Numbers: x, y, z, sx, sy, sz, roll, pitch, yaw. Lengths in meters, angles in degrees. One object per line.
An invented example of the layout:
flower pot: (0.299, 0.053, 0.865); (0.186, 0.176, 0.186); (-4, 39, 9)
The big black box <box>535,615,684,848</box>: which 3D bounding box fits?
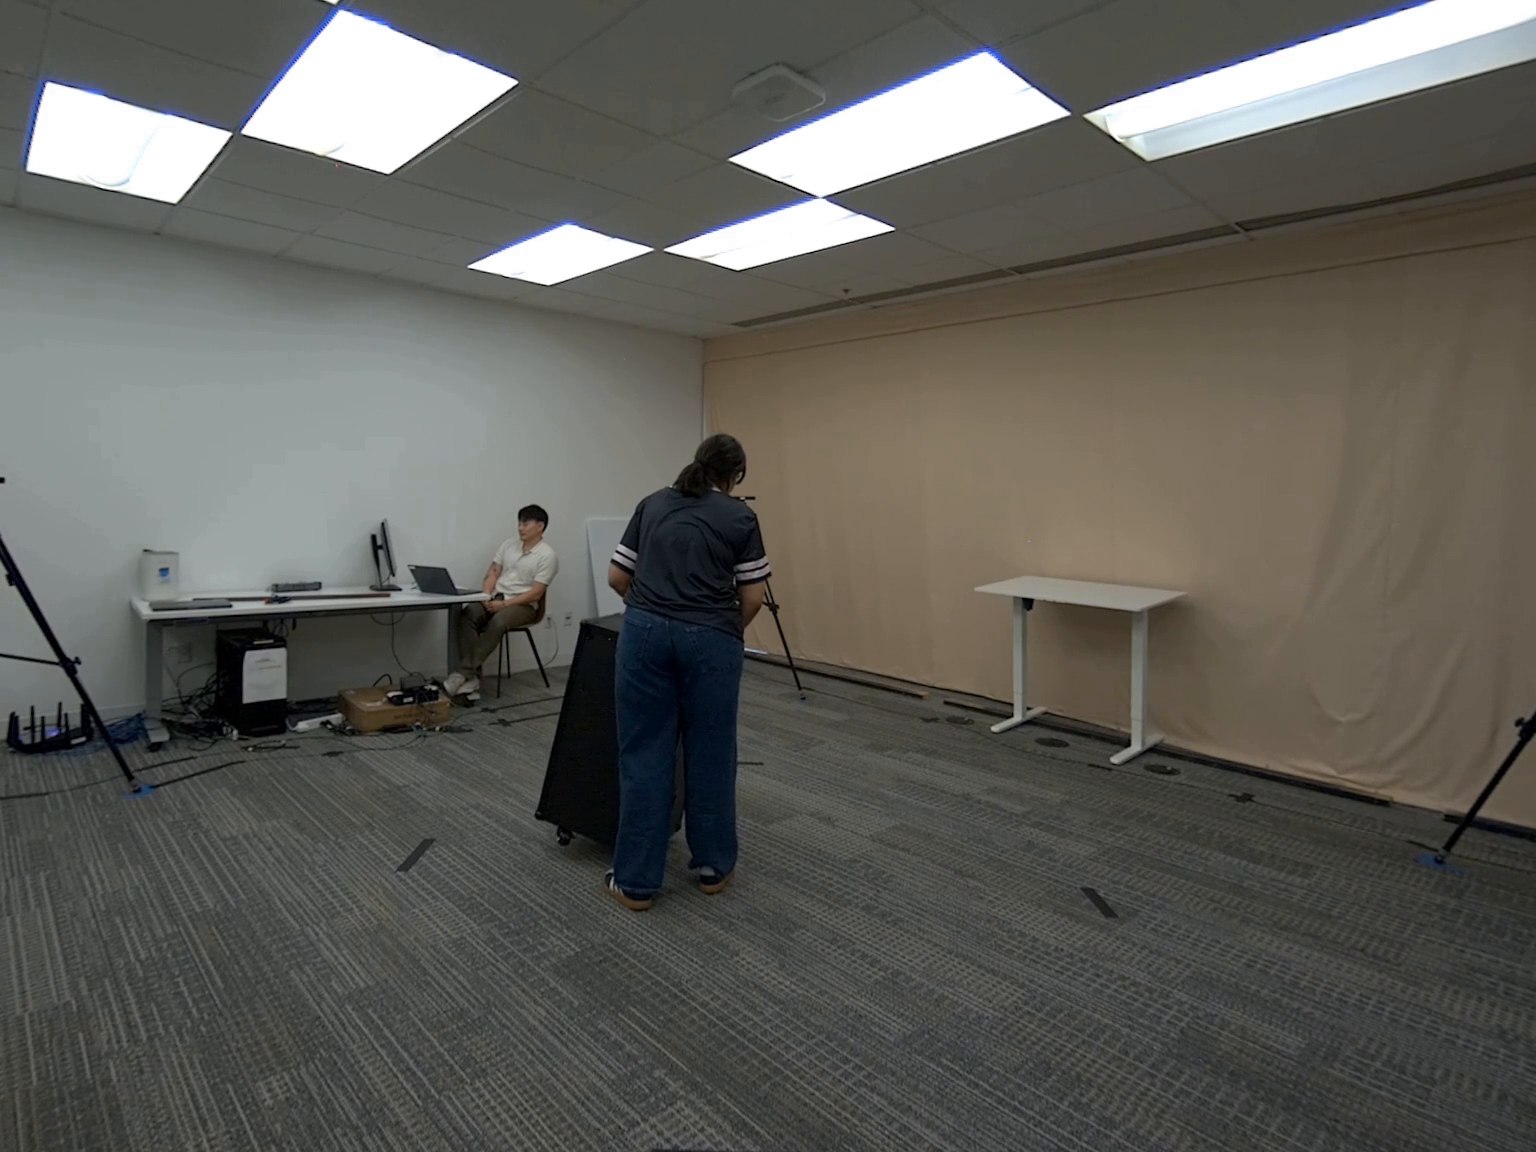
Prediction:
big black box: (-0.550, 0.636, 3.303); (0.530, 0.867, 0.381); (15, 4, 13)
